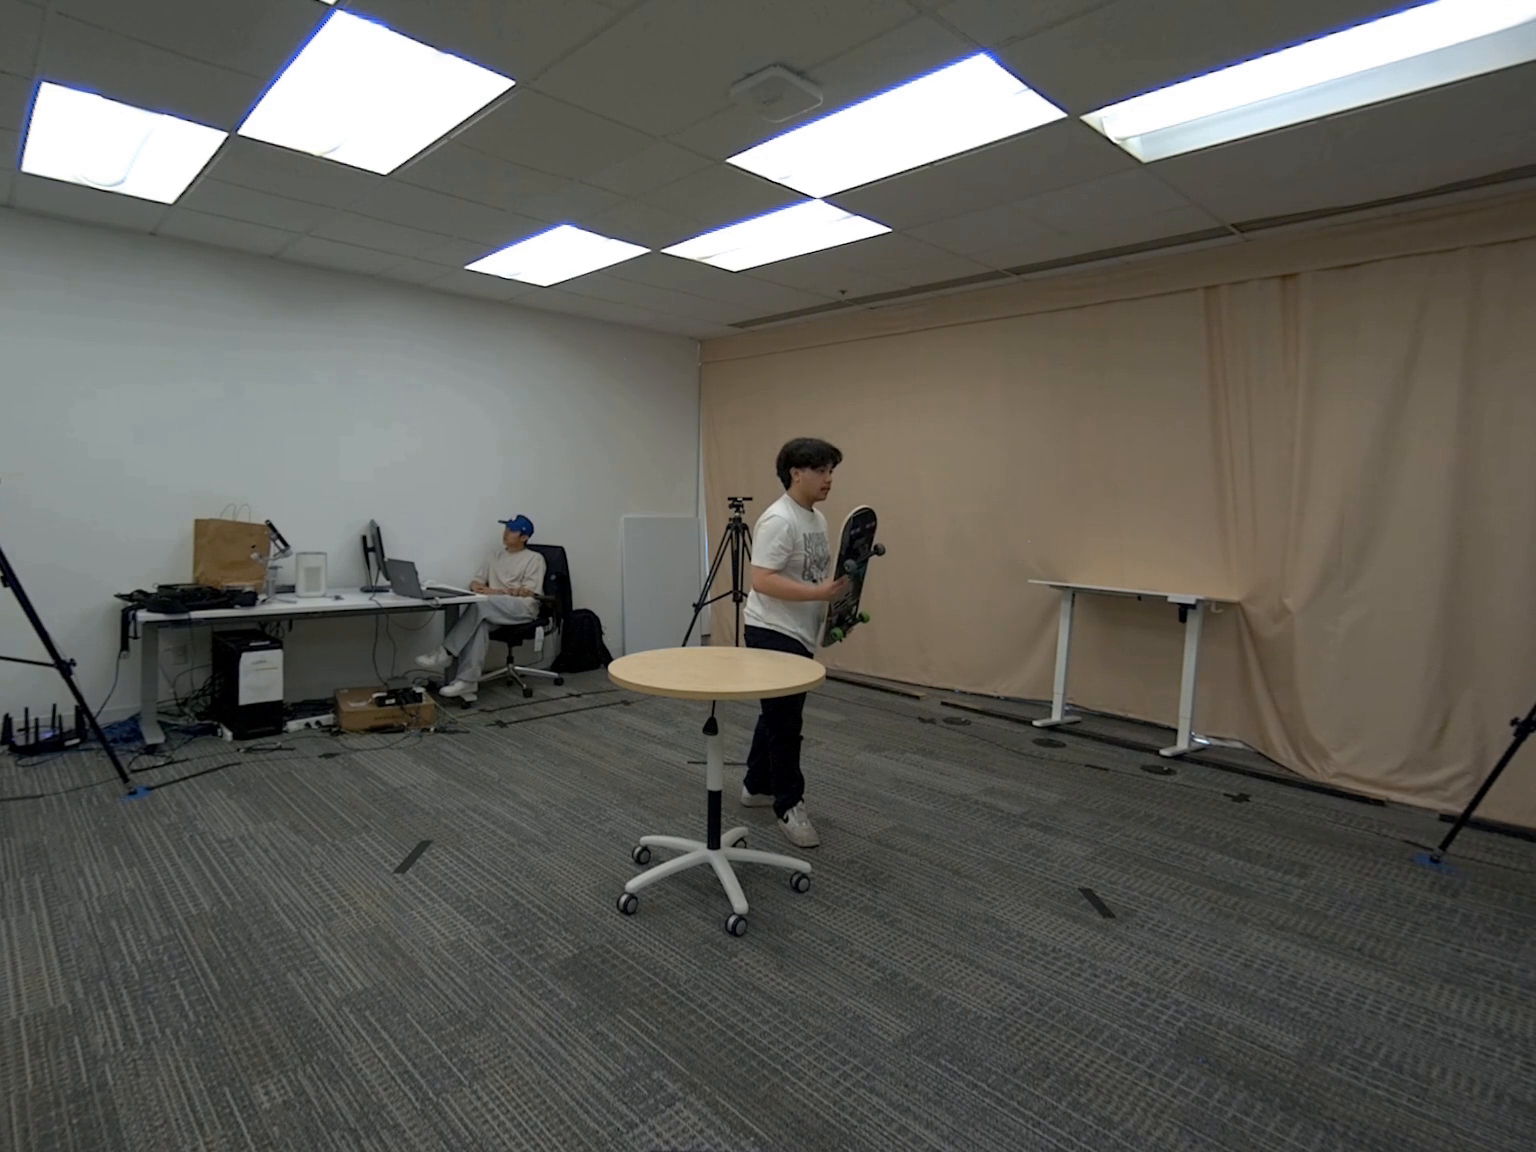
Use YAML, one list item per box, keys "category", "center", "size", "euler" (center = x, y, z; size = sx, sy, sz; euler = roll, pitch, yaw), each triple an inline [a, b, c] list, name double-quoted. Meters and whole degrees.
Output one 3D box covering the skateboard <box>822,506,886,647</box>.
- category: "skateboard"
  center: [0.328, 0.049, 3.370]
  size: [0.192, 0.769, 0.113]
  euler: [-29, 55, -29]
